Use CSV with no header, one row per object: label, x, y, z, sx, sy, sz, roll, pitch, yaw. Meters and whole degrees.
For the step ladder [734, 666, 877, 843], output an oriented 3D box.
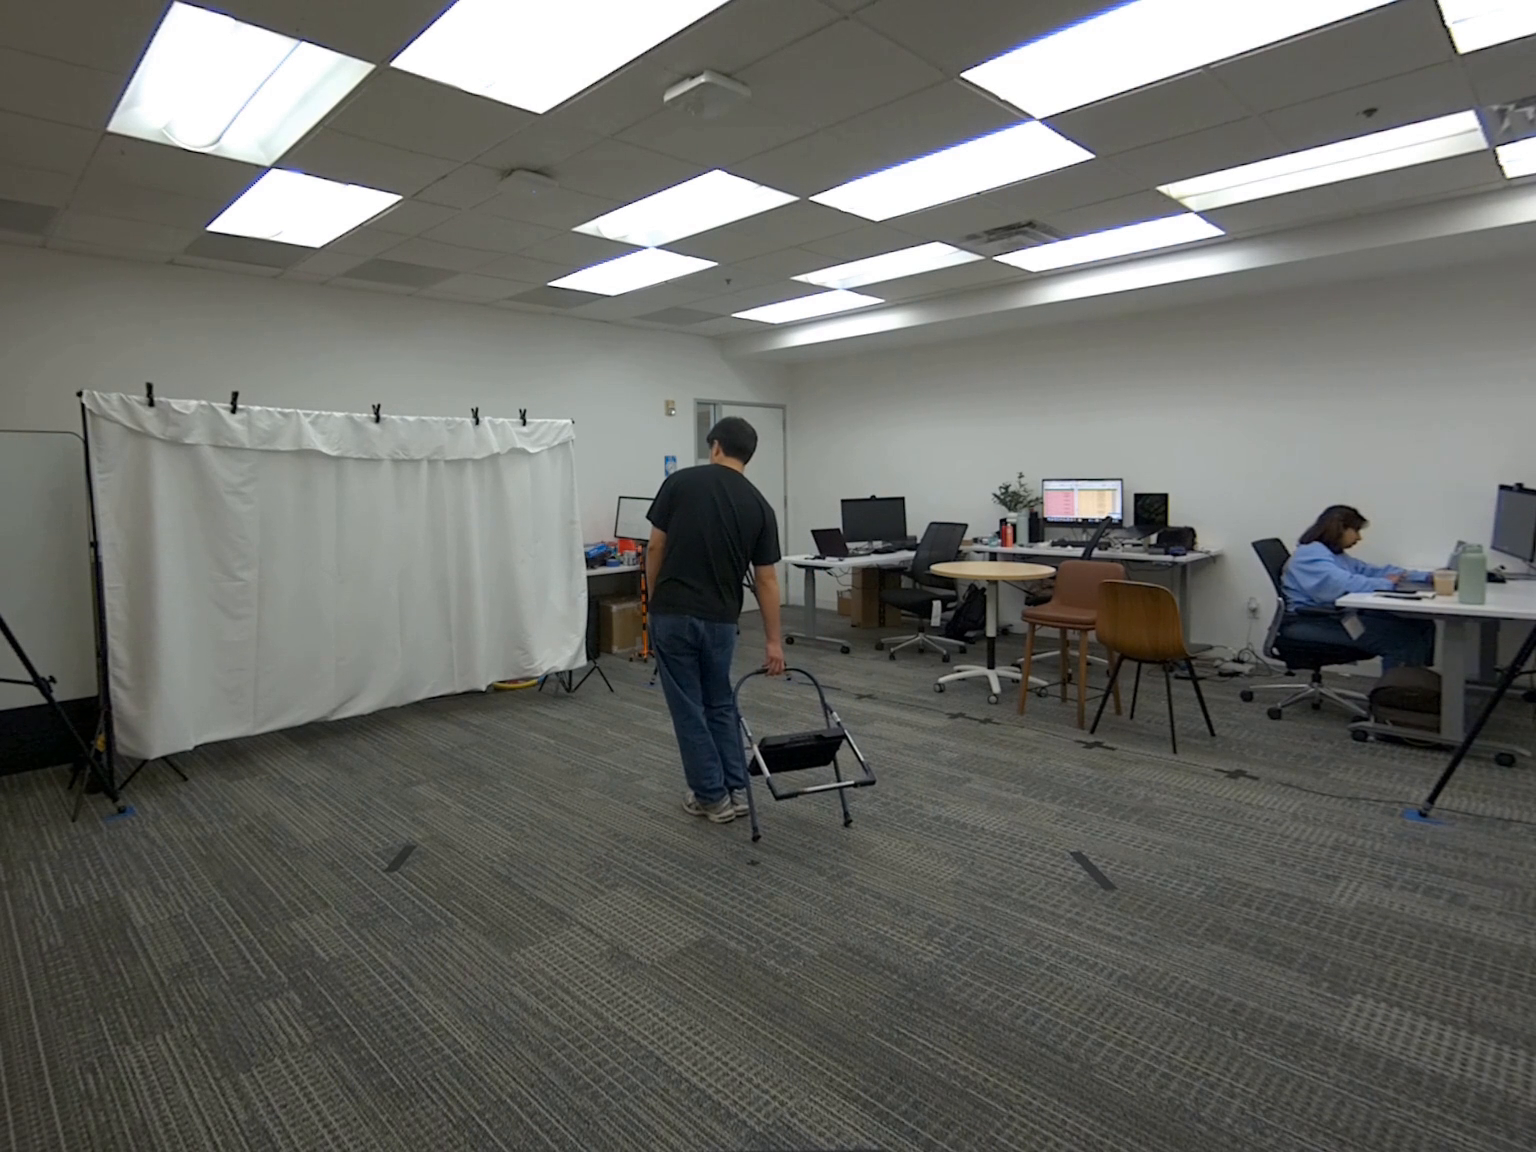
step ladder,0.092,0.665,3.426,0.423,0.627,0.343,-3,-41,-22
